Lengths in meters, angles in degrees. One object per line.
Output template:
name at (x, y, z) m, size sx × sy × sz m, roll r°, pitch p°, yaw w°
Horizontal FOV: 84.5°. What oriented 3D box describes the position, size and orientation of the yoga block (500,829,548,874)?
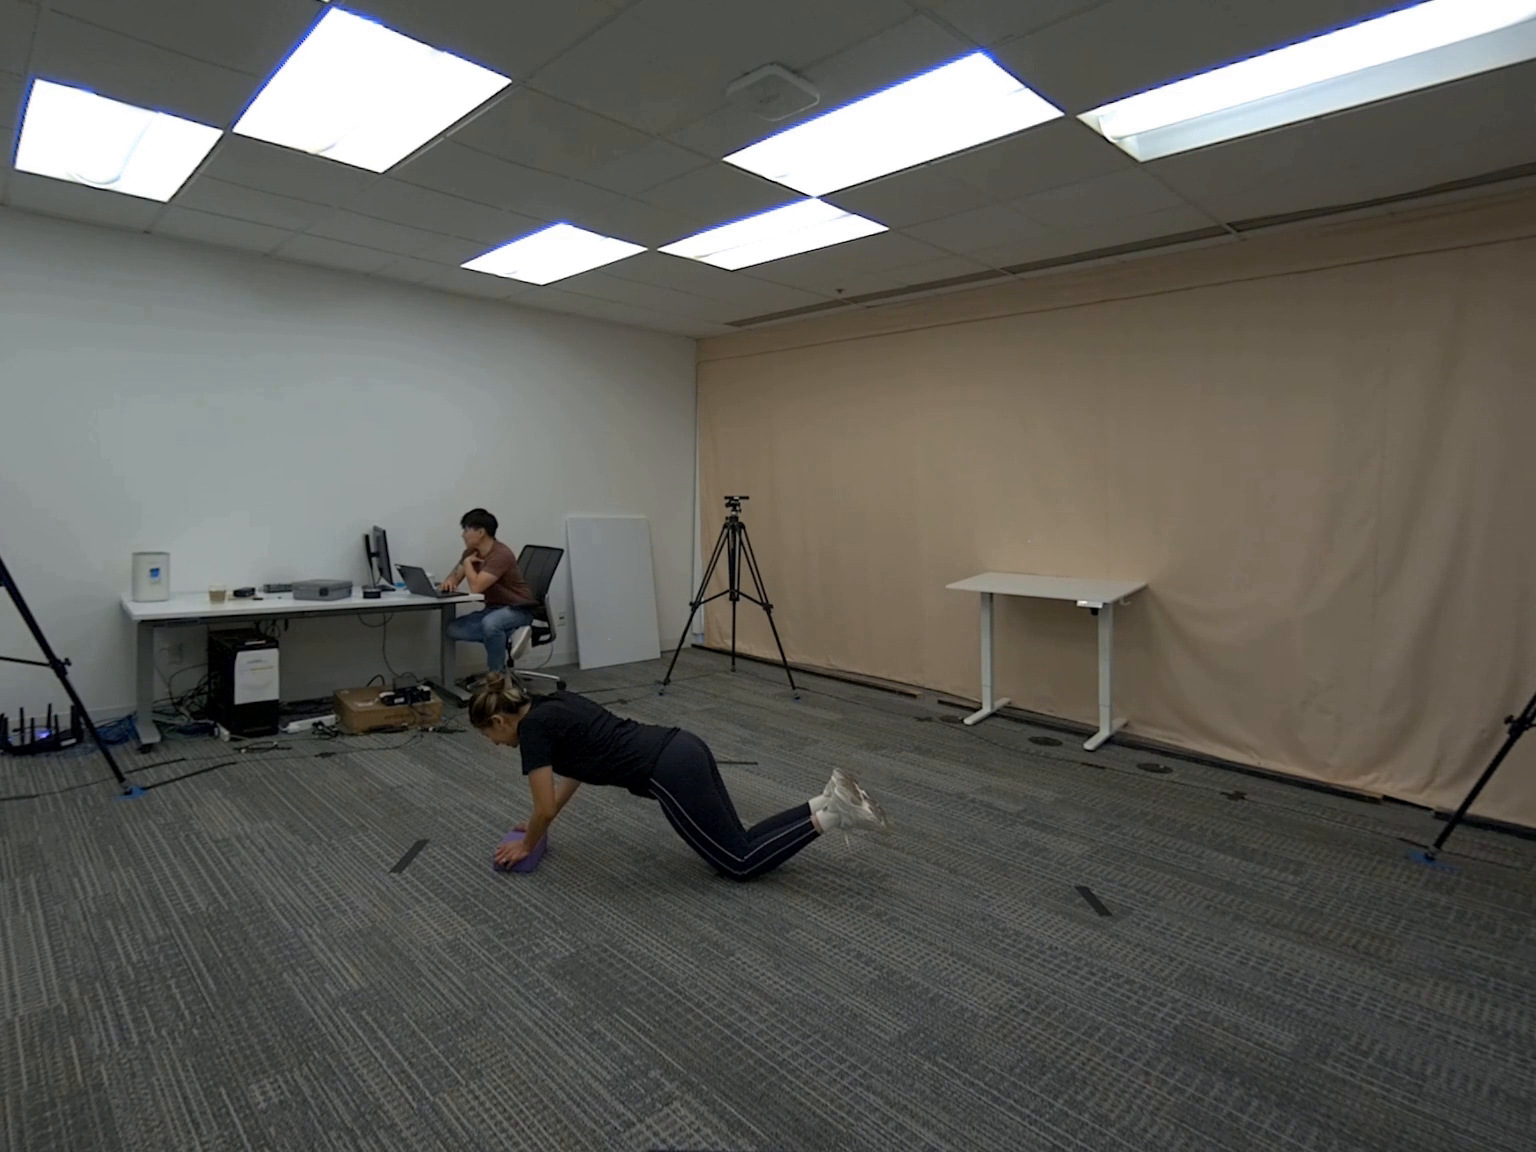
yoga block at (-0.937, 1.033, 3.204) m, size 0.149 × 0.076 × 0.229 m, roll 1°, pitch 4°, yaw 1°
